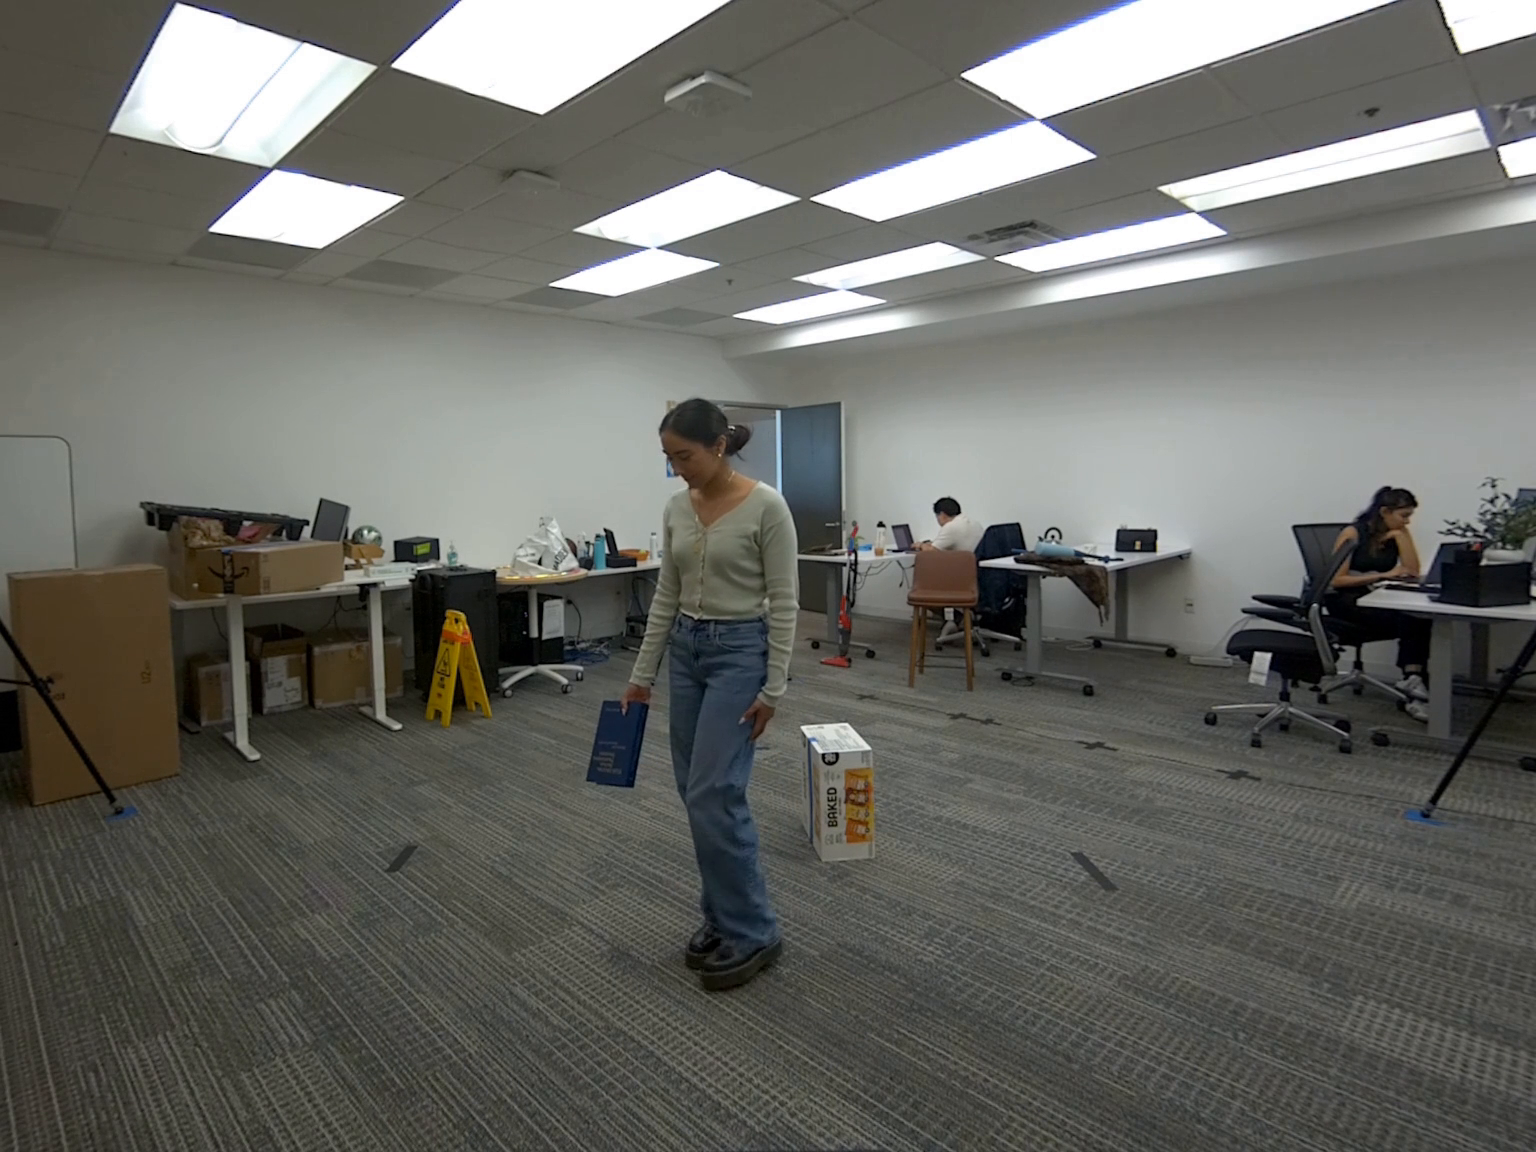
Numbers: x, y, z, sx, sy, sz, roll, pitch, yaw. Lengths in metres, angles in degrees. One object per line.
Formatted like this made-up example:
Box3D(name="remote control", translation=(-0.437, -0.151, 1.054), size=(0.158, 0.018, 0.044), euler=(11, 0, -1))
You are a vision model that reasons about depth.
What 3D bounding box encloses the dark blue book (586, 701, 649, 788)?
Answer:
Box3D(name="dark blue book", translation=(-0.441, 0.502, 2.553), size=(0.167, 0.249, 0.043), euler=(-8, -26, 37))
